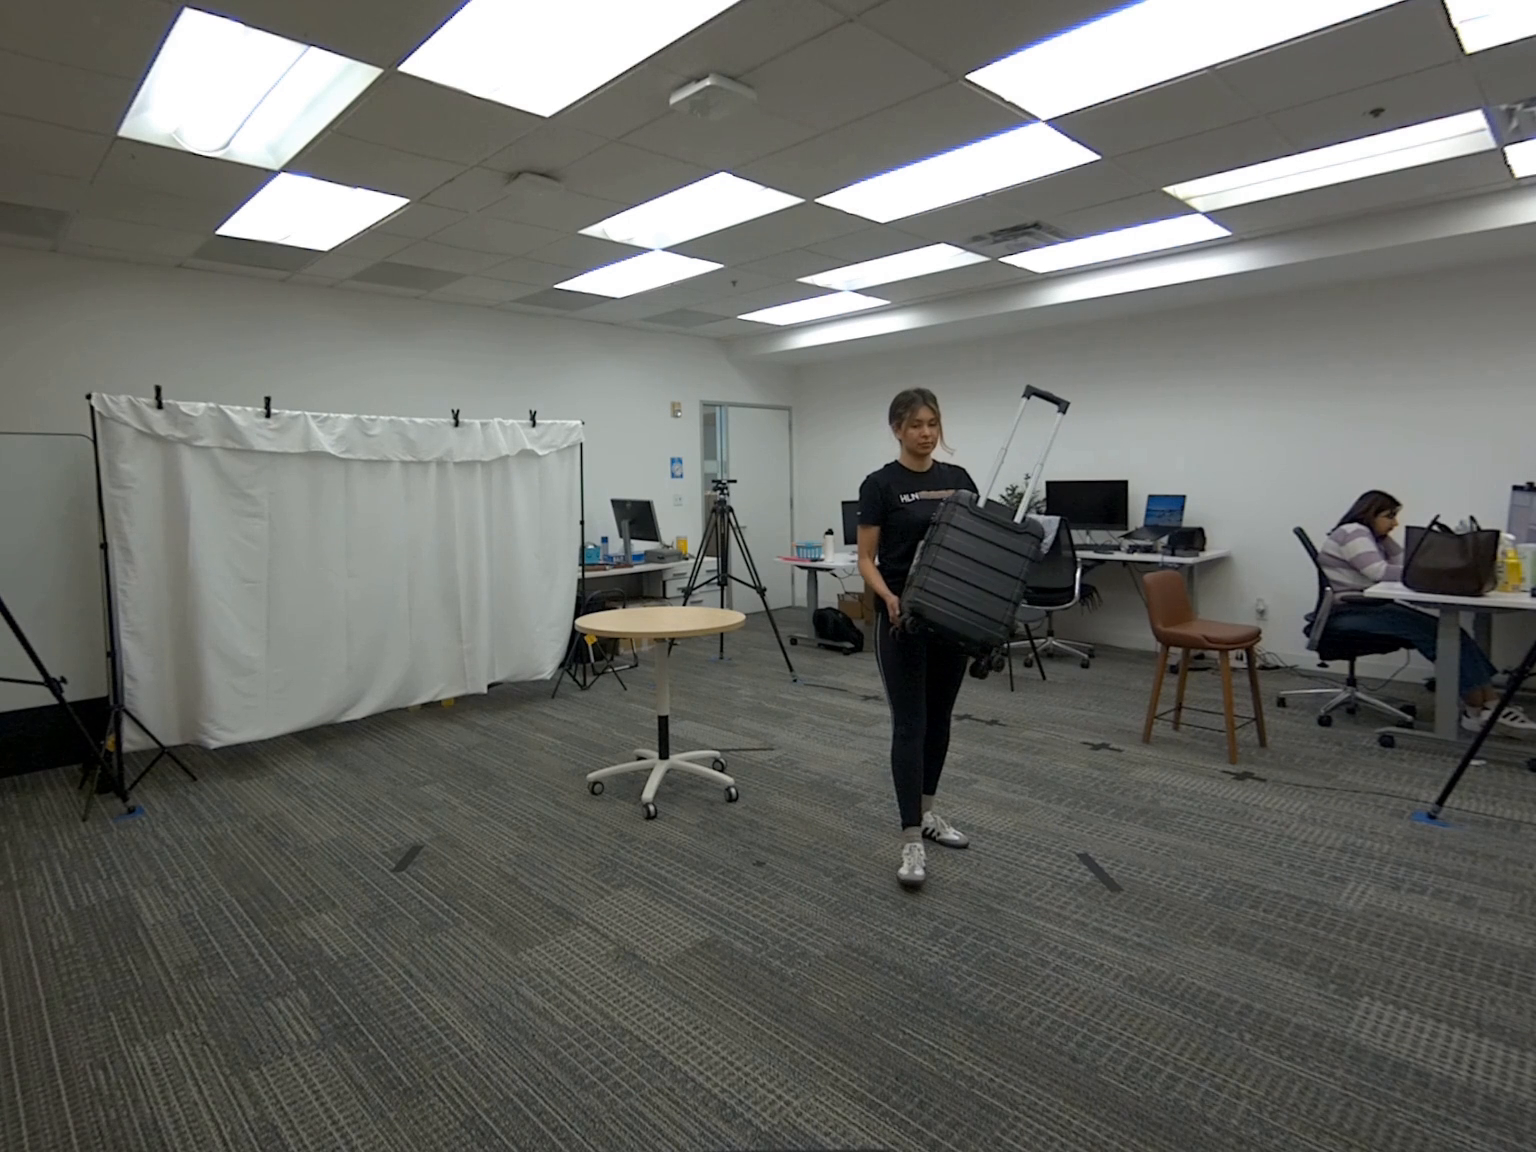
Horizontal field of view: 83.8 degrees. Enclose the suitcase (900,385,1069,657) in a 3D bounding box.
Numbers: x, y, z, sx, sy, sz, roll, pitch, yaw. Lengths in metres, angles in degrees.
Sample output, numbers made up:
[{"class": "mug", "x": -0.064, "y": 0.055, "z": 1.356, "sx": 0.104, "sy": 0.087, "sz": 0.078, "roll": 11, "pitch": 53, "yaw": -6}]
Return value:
[{"class": "suitcase", "x": 0.762, "y": -0.180, "z": 2.953, "sx": 0.388, "sy": 0.984, "sz": 0.253, "roll": 24, "pitch": -14, "yaw": 6}]
